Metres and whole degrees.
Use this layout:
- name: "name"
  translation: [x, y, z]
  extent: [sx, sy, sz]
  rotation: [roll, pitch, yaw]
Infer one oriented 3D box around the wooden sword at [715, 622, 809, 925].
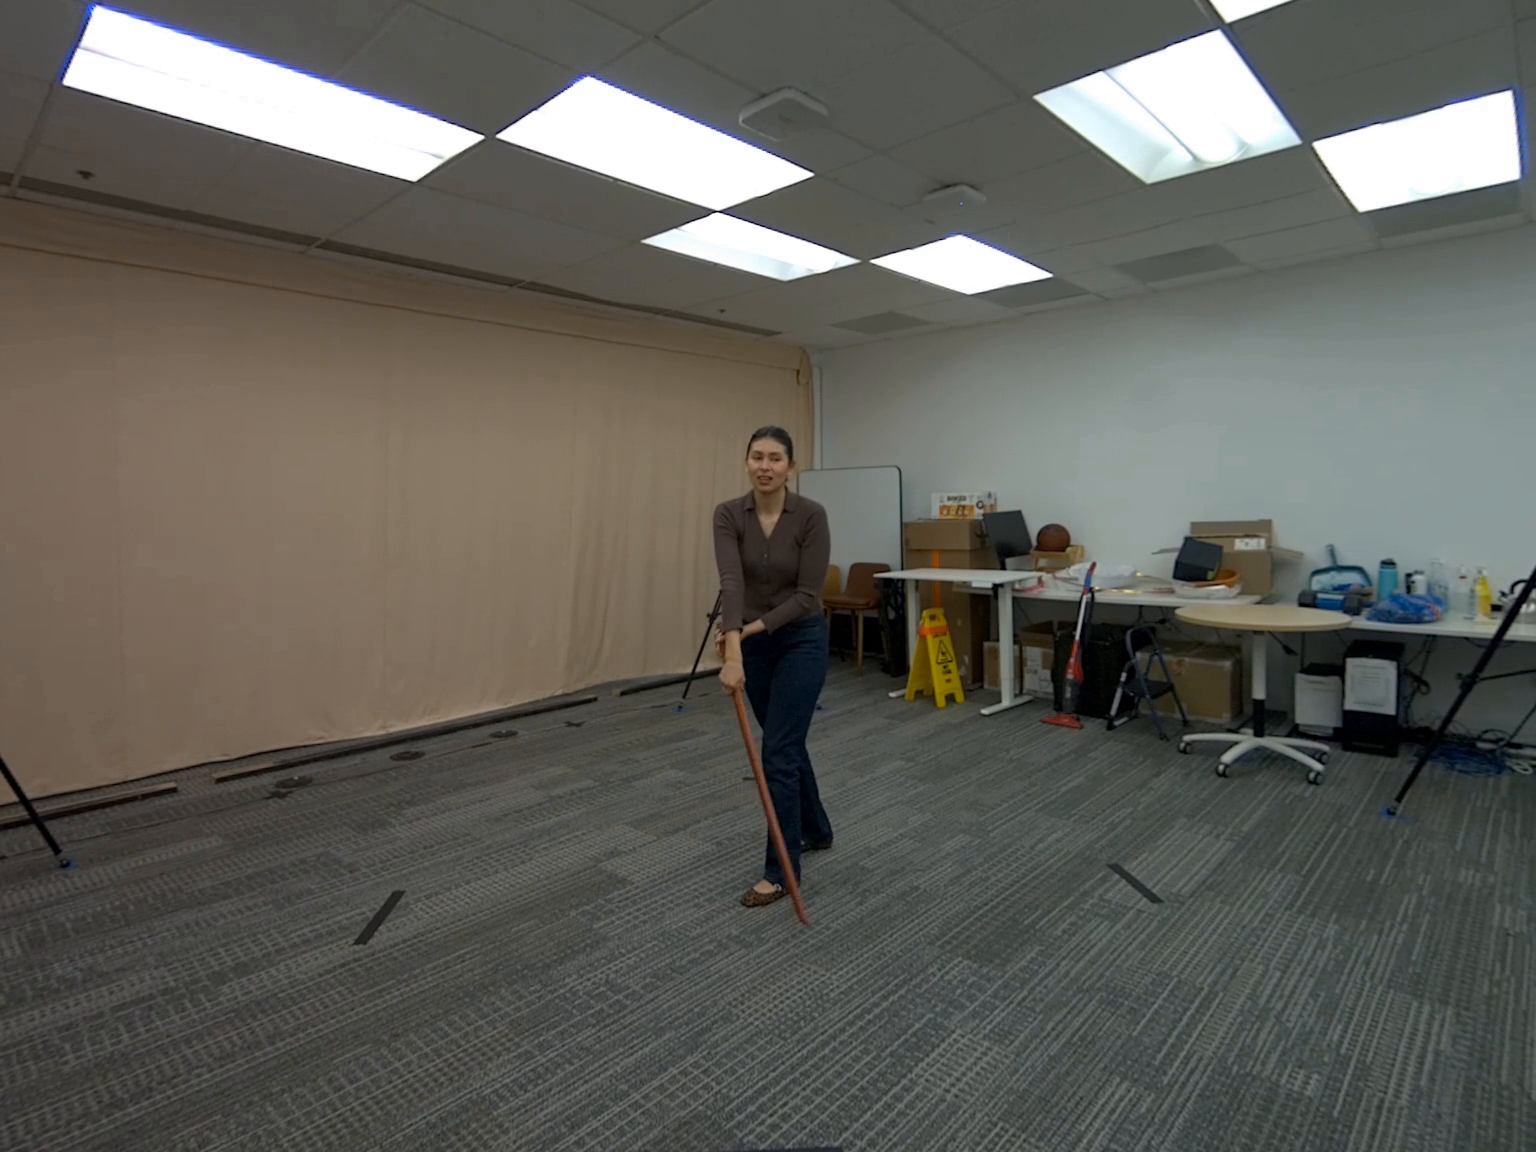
- name: "wooden sword"
  translation: [-0.008, 0.577, 2.625]
  extent: [0.024, 1.053, 0.050]
  rotation: [-20, -36, 0]
